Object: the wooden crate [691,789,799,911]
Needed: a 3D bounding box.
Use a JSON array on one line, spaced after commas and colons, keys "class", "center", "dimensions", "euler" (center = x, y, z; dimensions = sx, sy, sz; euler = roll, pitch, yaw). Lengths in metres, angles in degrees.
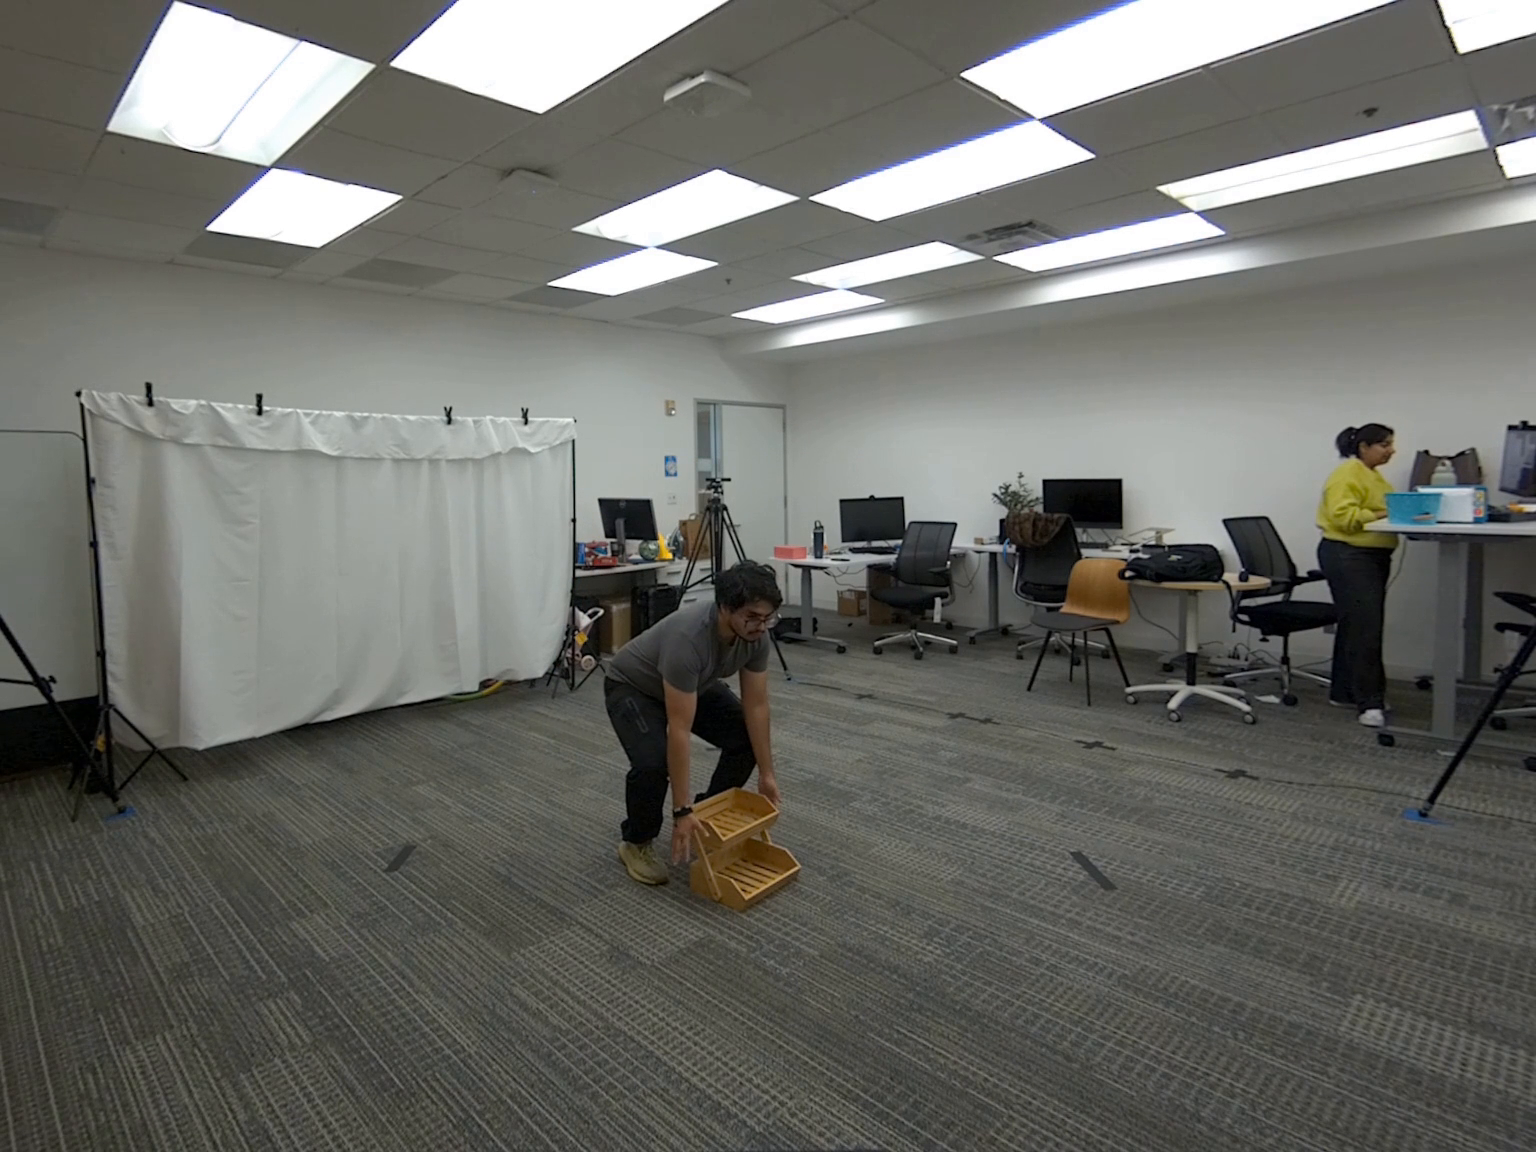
[{"class": "wooden crate", "center": [-0.096, 0.923, 2.946], "dimensions": [0.311, 0.272, 0.316], "euler": [3, 7, 40]}]
